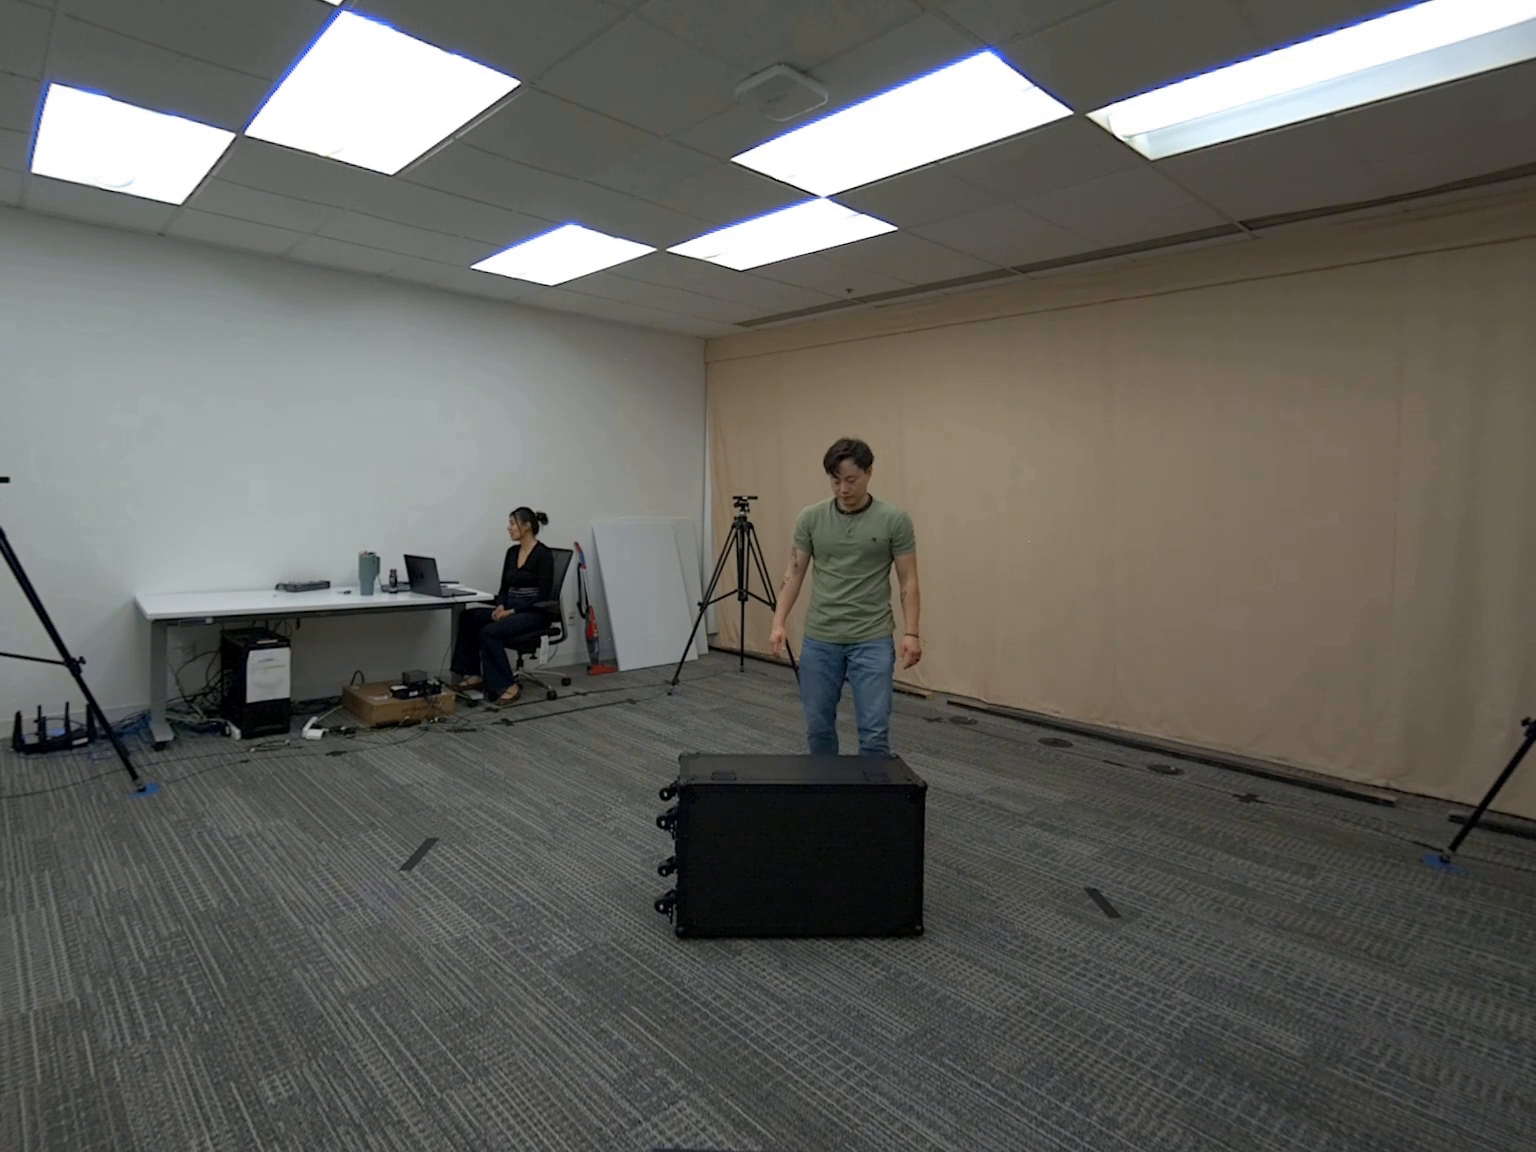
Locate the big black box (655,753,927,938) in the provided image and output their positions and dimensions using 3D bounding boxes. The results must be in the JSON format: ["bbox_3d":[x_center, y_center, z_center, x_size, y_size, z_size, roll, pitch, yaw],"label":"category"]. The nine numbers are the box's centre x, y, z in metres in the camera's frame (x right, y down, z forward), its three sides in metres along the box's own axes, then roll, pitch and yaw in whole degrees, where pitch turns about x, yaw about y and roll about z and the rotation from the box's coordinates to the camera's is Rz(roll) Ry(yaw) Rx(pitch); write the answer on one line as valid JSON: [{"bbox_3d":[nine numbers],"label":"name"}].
[{"bbox_3d":[0.050,0.876,2.825,0.858,0.521,0.398,1,1,-4],"label":"big black box"}]
